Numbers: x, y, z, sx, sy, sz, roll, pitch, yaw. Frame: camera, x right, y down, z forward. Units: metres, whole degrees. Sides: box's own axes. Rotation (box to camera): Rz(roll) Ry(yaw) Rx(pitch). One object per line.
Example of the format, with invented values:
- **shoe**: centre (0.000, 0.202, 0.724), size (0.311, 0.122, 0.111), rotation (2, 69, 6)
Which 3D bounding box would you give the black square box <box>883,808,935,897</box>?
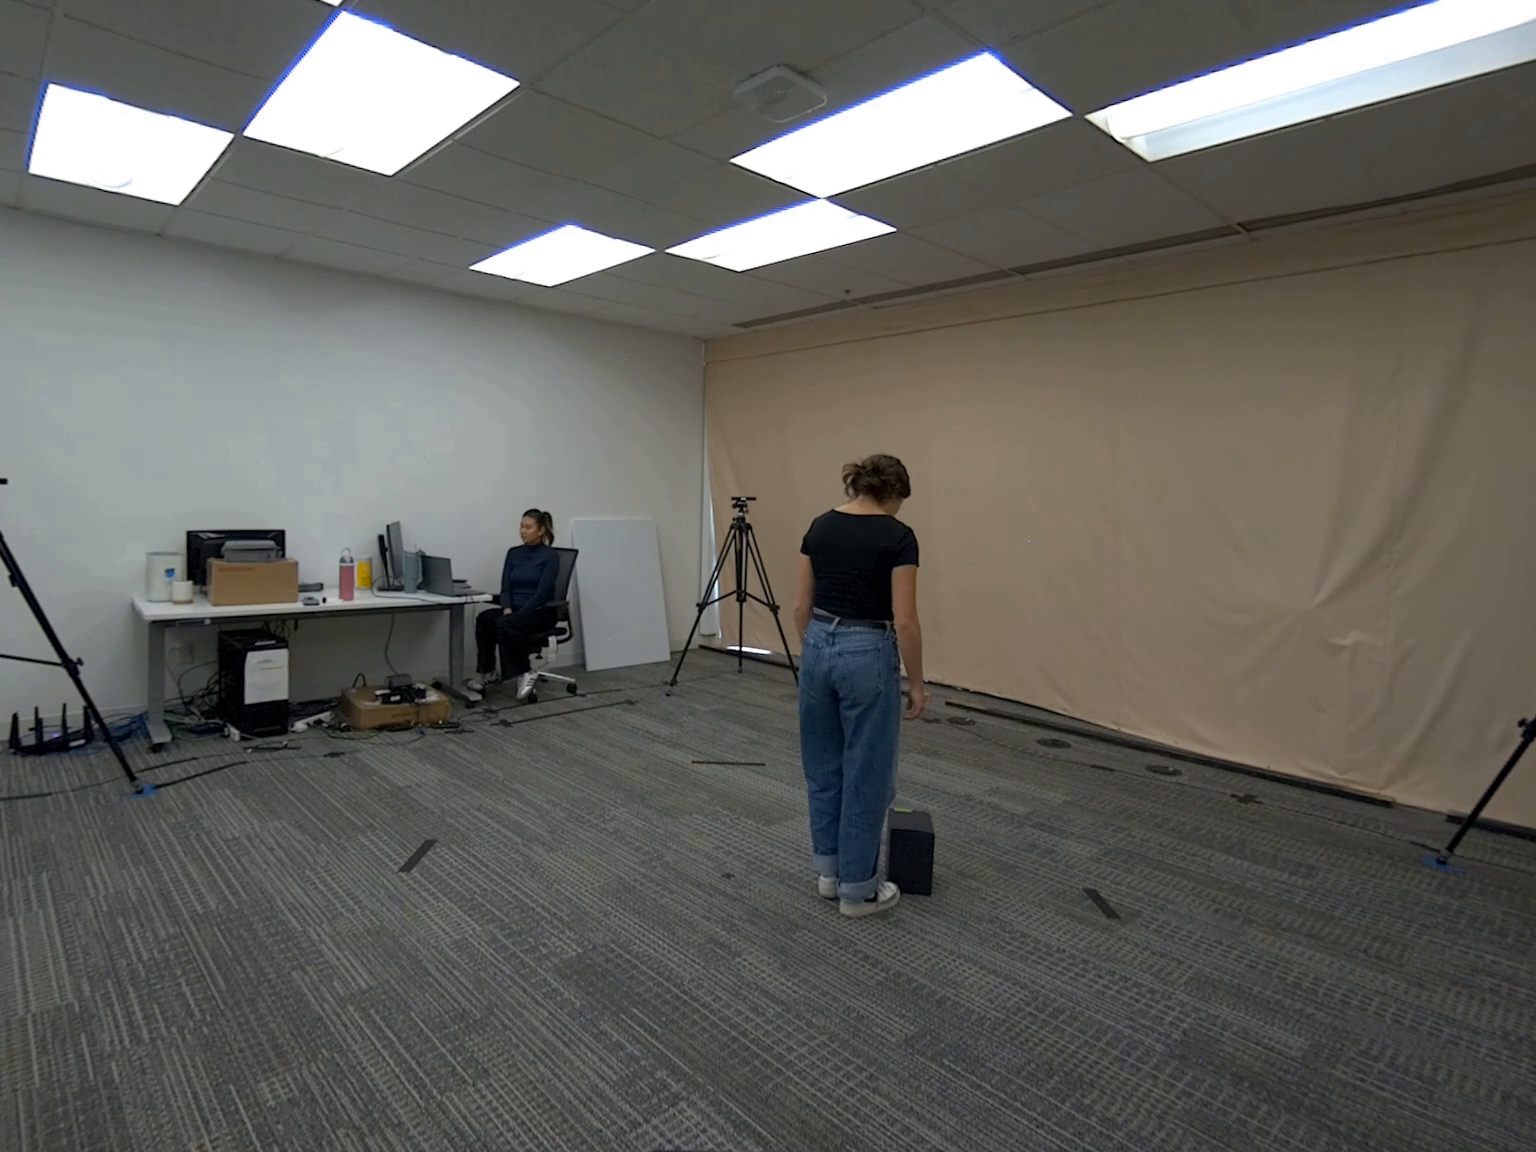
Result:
- **black square box**: centre (0.514, 1.002, 3.093), size (0.157, 0.227, 0.216), rotation (3, 3, 6)
